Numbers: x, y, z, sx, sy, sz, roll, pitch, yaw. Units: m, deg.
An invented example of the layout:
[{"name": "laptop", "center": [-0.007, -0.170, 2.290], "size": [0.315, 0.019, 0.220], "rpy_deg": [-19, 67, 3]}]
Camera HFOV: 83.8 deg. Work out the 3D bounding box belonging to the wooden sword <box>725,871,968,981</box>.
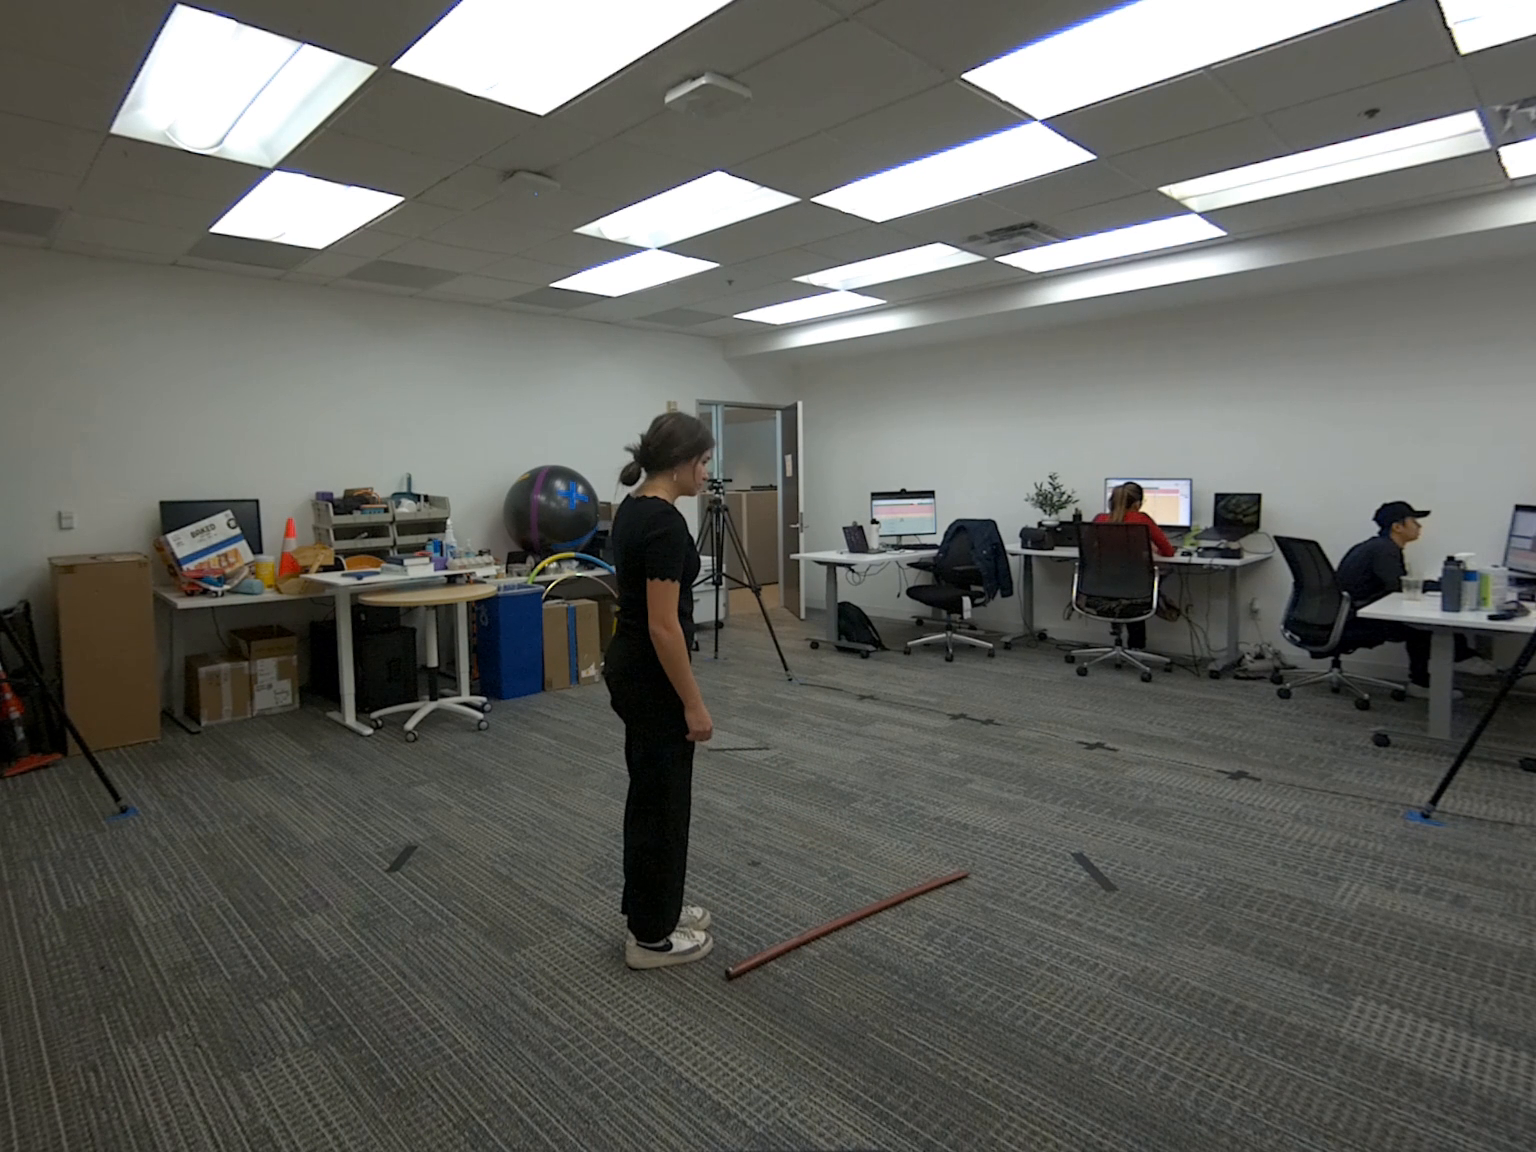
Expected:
[{"name": "wooden sword", "center": [0.276, 1.065, 2.699], "size": [0.999, 0.024, 0.053], "rpy_deg": [-6, 8, -35]}]
